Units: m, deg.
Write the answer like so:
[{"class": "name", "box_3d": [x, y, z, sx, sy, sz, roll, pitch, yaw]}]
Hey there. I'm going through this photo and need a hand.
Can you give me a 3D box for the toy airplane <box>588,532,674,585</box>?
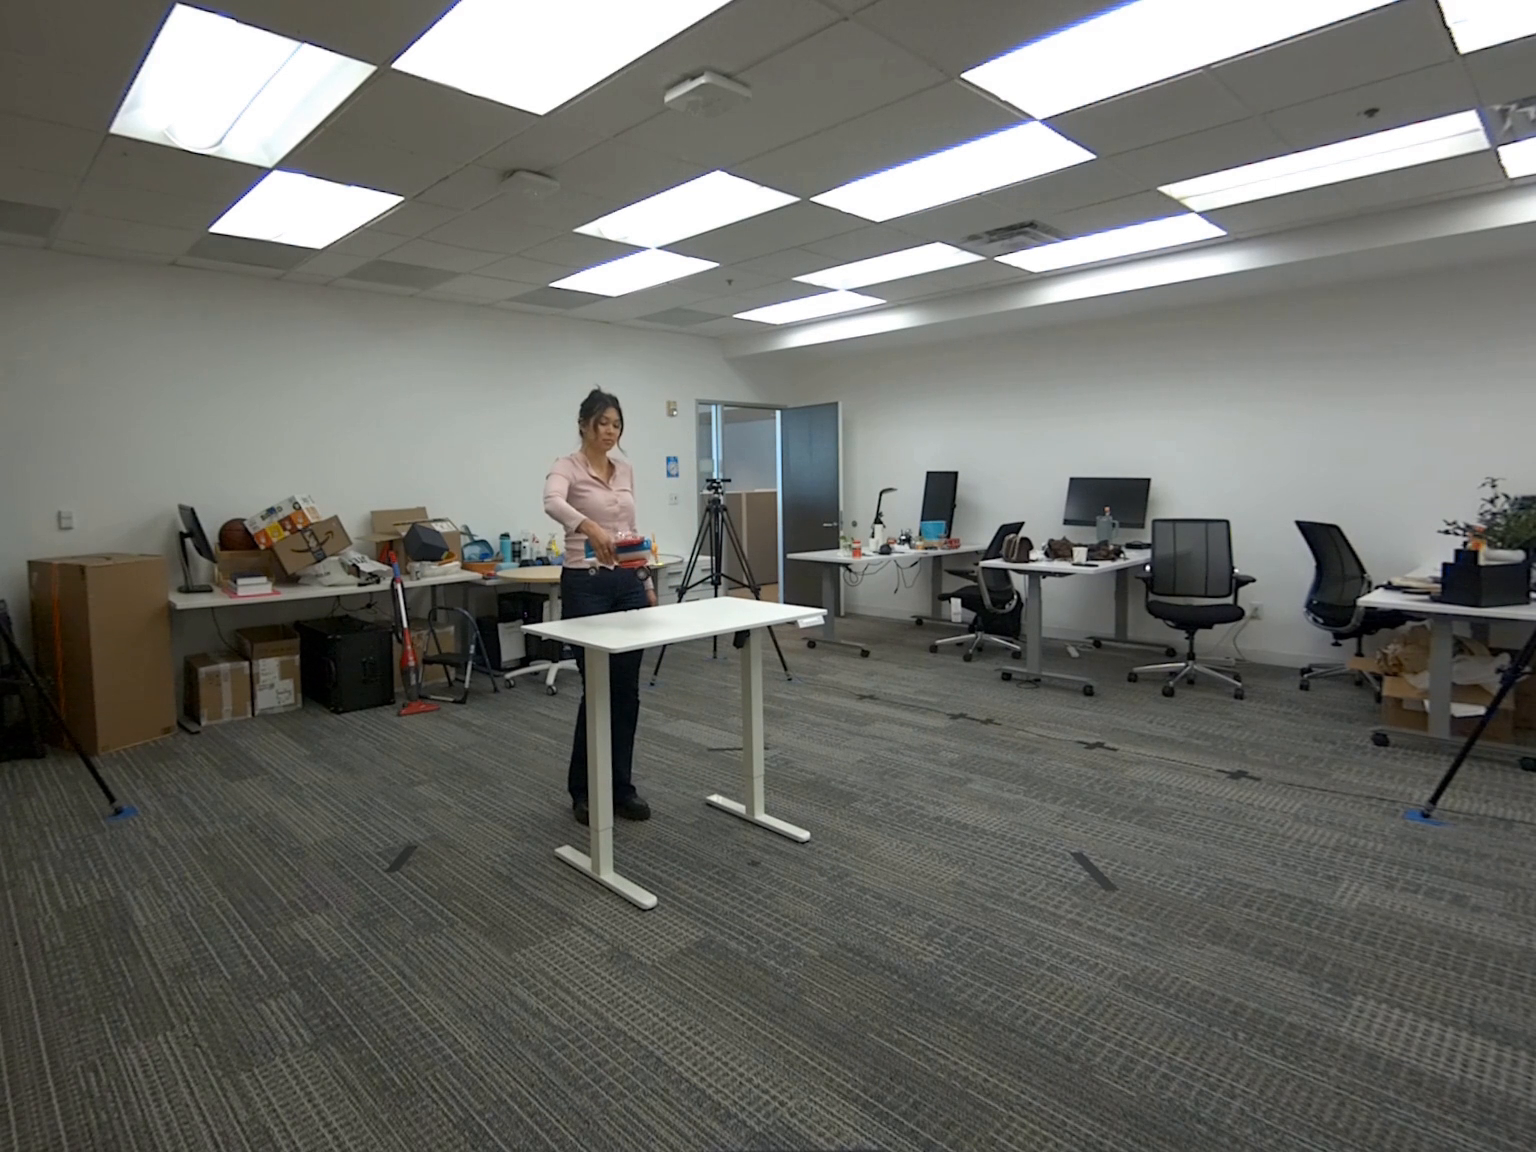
[{"class": "toy airplane", "box_3d": [-0.507, -0.072, 3.000, 0.253, 0.156, 0.258, 4, 4, -26]}]
